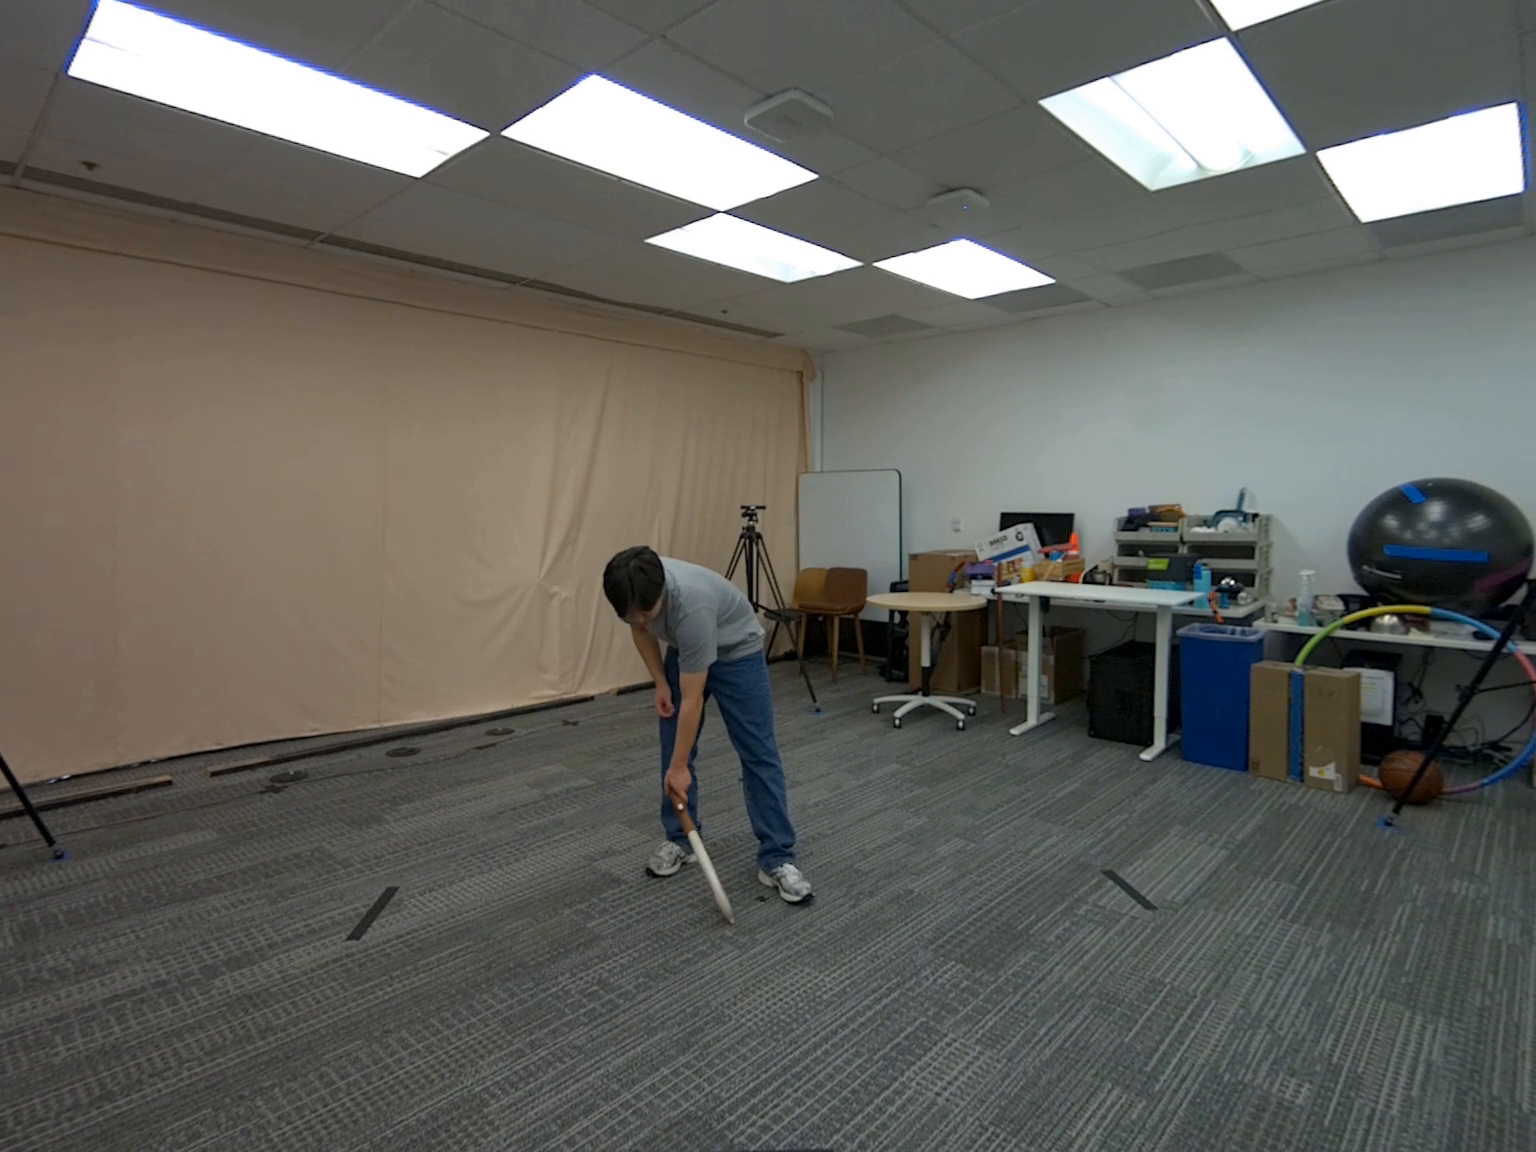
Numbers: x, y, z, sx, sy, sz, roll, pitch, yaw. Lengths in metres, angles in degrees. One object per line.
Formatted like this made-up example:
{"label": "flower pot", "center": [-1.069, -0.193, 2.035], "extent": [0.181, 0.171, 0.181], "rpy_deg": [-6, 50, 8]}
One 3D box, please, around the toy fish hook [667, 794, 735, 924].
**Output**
{"label": "toy fish hook", "center": [-0.222, 0.960, 2.929], "extent": [0.048, 0.220, 0.523], "rpy_deg": [-18, 49, -17]}
